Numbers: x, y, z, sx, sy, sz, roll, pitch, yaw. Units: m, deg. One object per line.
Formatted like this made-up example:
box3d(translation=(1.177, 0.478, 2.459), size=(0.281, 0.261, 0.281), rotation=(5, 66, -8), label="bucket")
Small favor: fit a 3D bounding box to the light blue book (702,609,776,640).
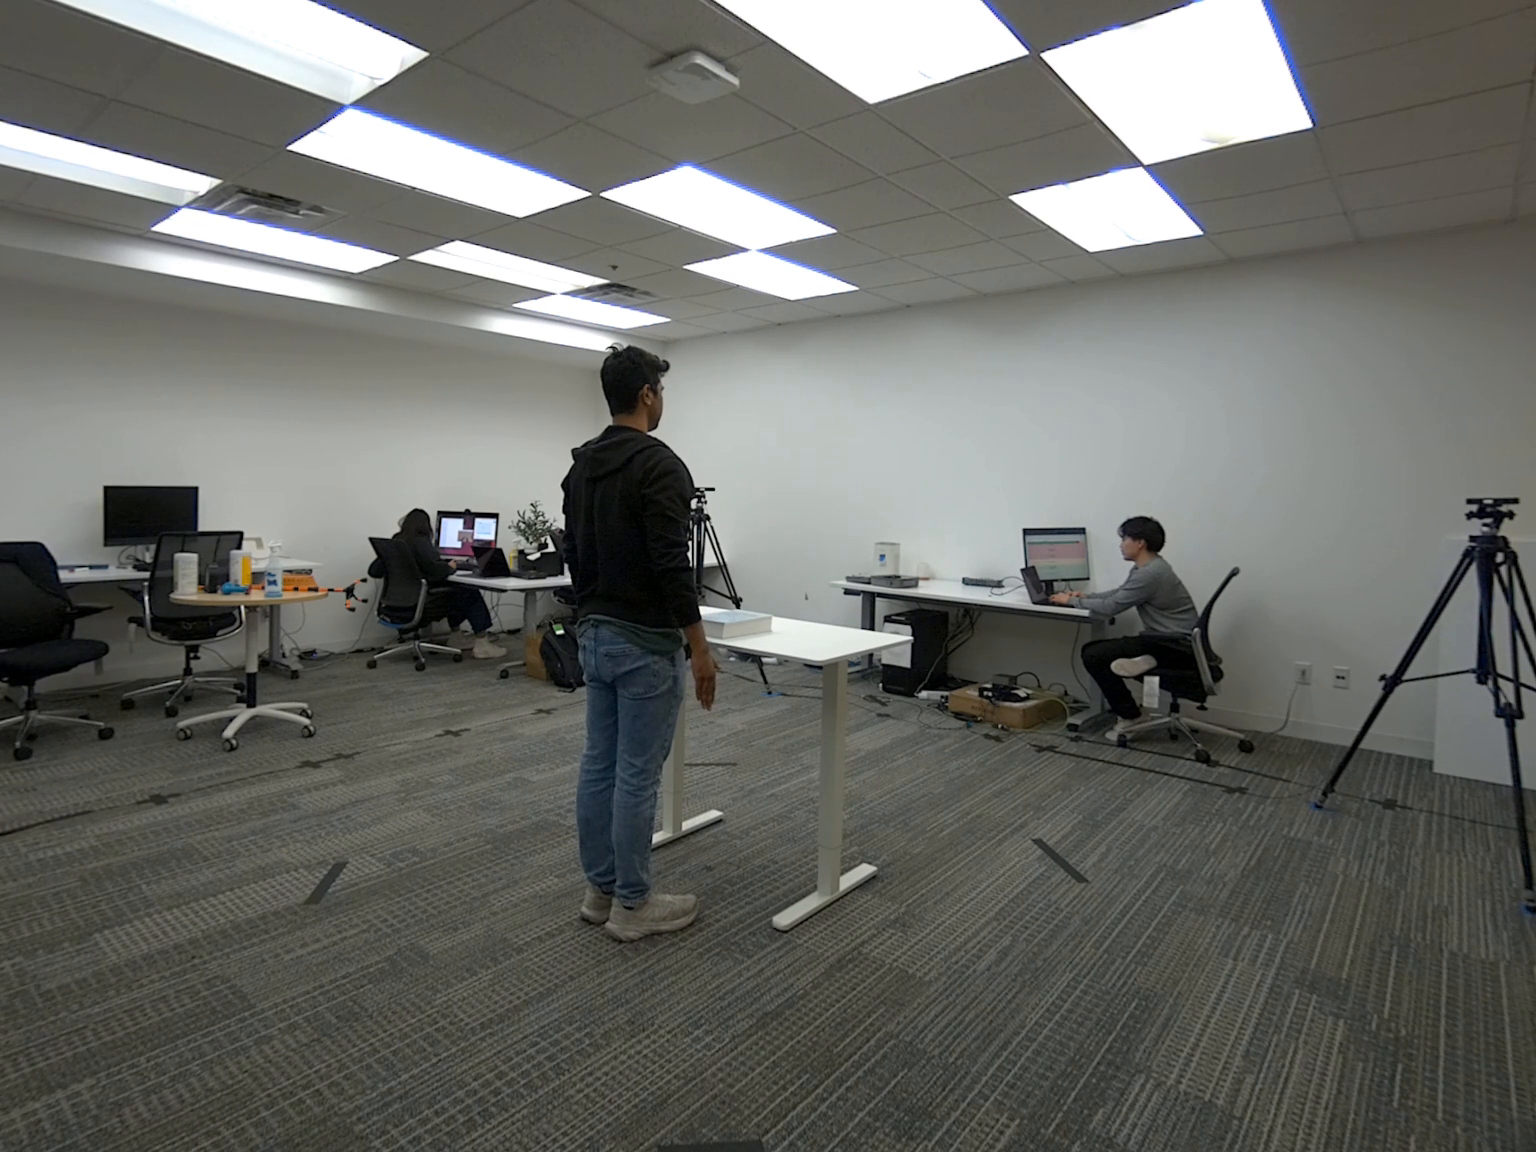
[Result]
box3d(translation=(-0.133, 0.170, 3.010), size=(0.198, 0.059, 0.253), rotation=(5, 7, 41), label="light blue book")
